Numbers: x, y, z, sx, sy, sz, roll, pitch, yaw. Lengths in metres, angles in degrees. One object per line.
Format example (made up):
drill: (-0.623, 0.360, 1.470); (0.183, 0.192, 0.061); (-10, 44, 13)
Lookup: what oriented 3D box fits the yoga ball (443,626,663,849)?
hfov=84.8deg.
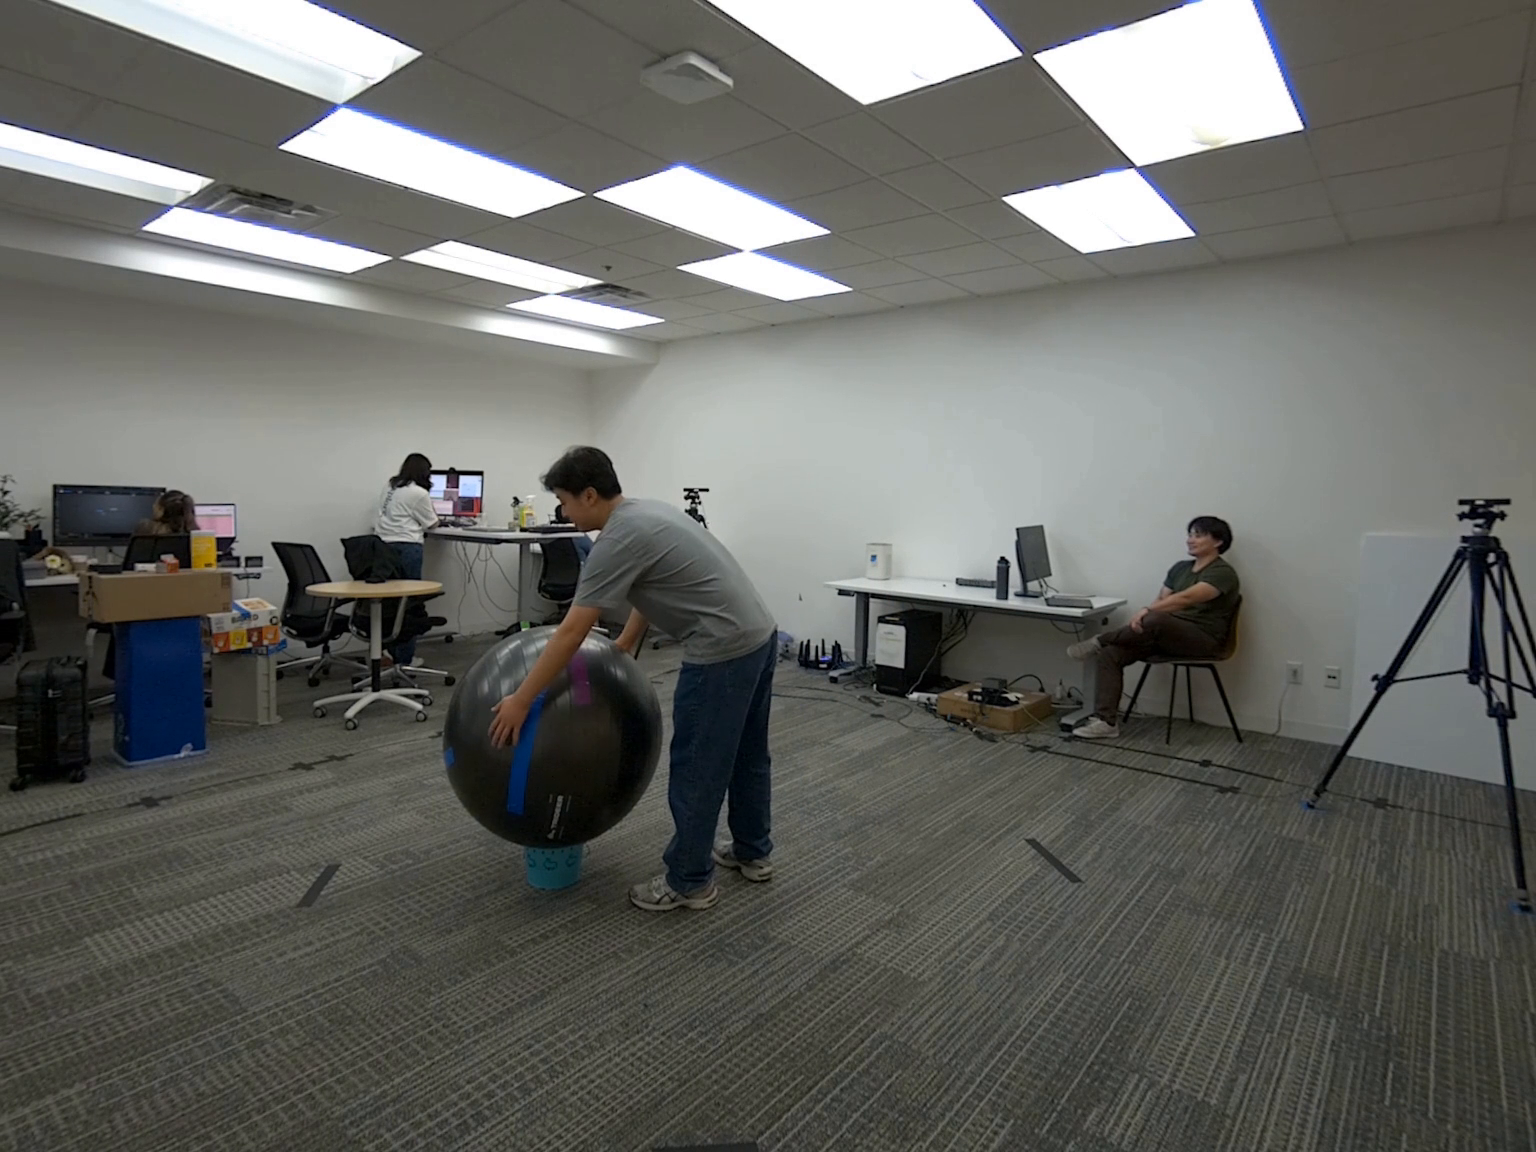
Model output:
yoga ball: (-0.776, 0.564, 3.005); (0.757, 0.756, 0.761); (1, 4, -2)
